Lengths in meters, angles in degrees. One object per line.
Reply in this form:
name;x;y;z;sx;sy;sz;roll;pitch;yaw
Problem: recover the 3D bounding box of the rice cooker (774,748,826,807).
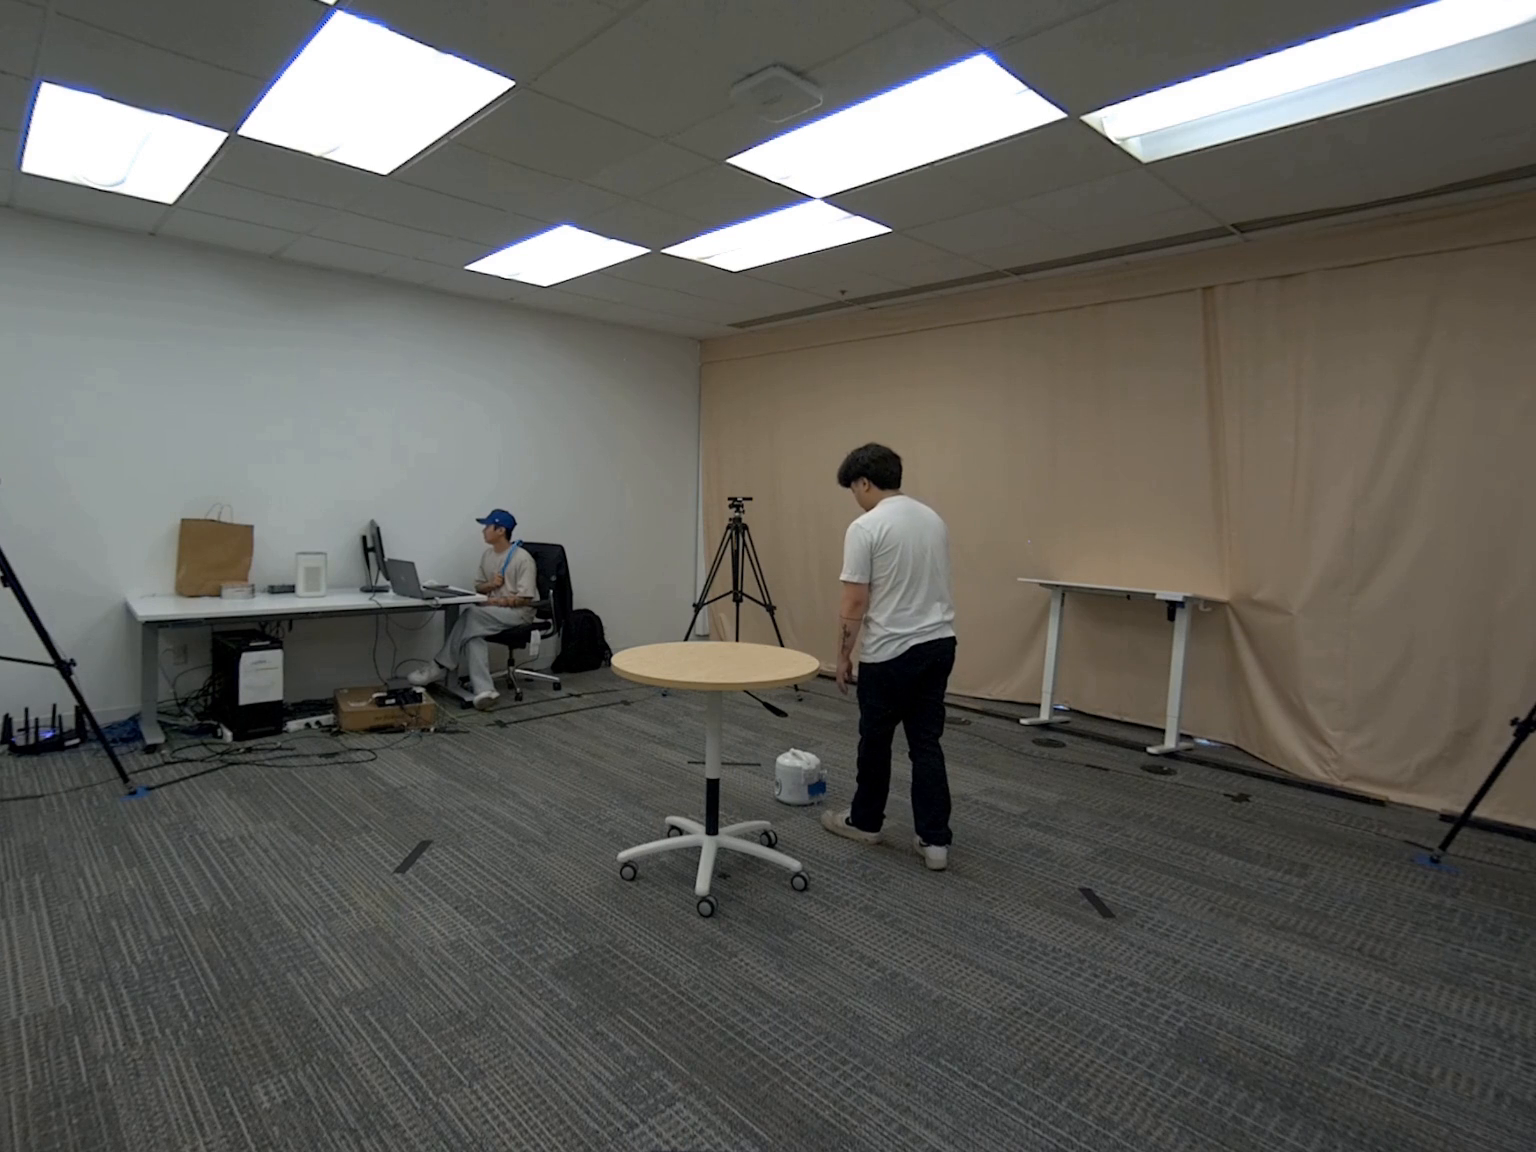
rice cooker;0.127;0.928;3.929;0.213;0.232;0.225;0;4;-25
